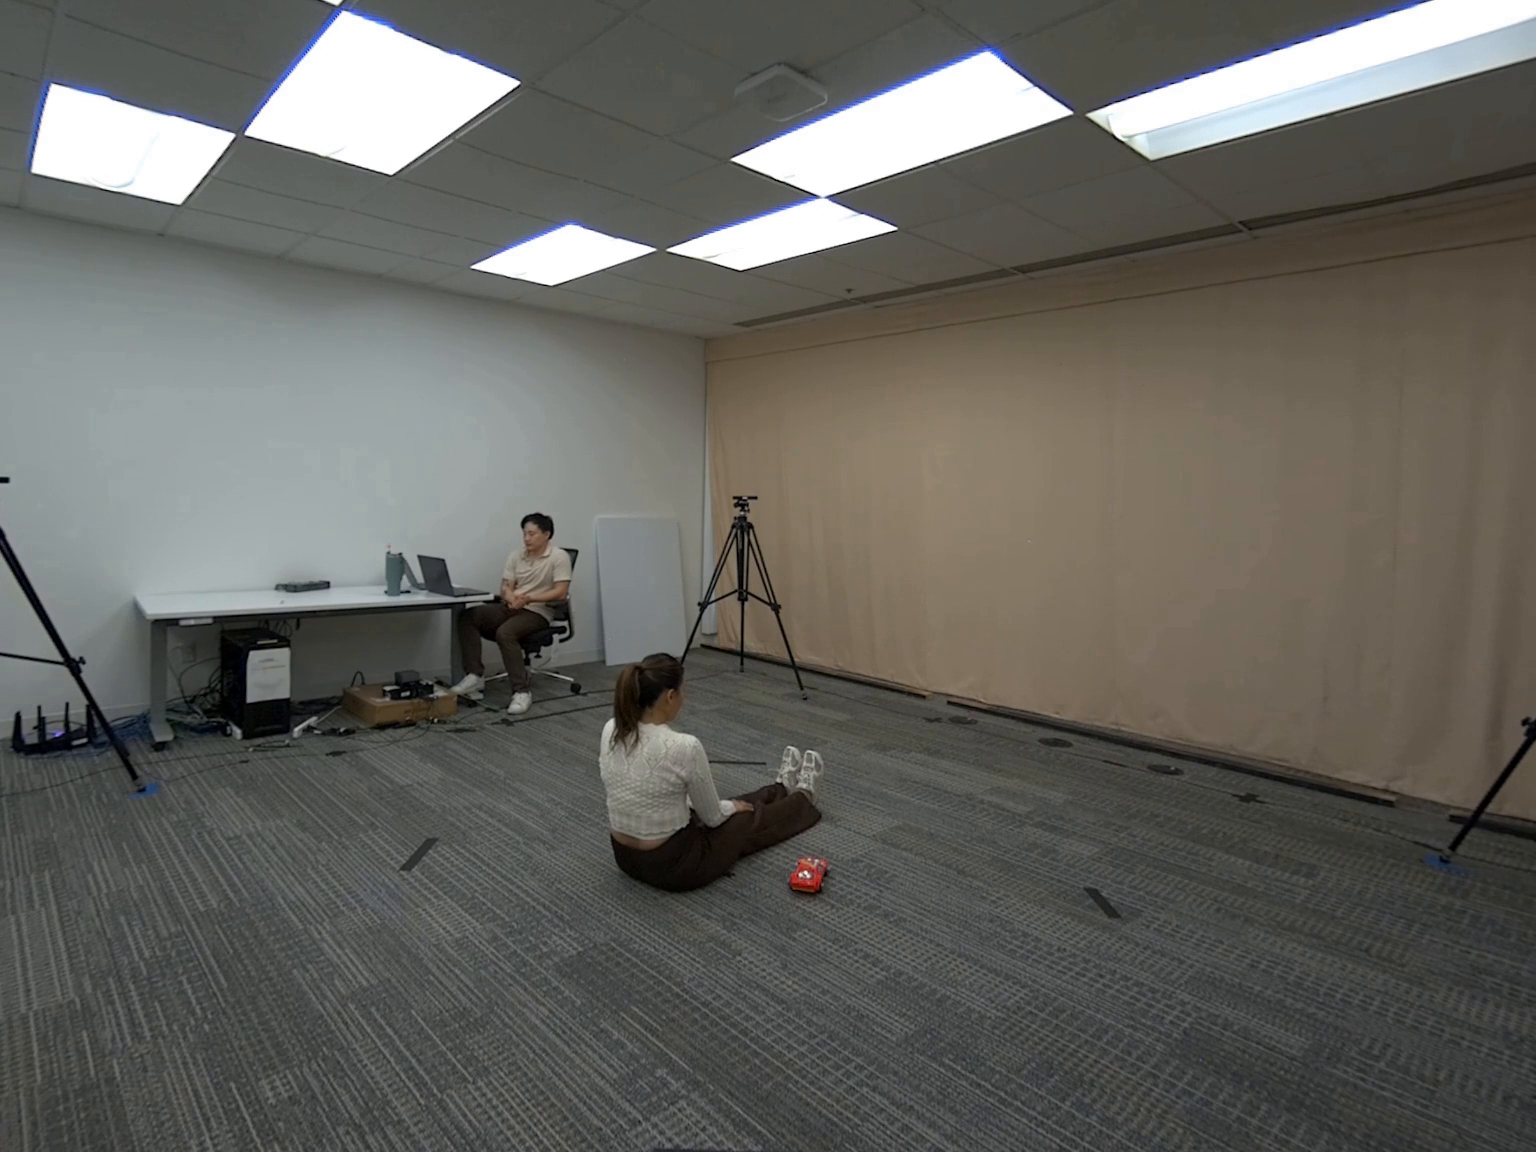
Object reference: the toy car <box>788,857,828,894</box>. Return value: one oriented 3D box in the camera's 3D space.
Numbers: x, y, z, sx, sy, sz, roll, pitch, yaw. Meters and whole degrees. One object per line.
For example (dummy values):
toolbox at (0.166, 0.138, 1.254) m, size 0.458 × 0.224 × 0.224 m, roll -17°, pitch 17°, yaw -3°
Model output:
toy car at (0.135, 1.082, 3.031) m, size 0.132 × 0.083 × 0.250 m, roll 2°, pitch -7°, yaw 13°
